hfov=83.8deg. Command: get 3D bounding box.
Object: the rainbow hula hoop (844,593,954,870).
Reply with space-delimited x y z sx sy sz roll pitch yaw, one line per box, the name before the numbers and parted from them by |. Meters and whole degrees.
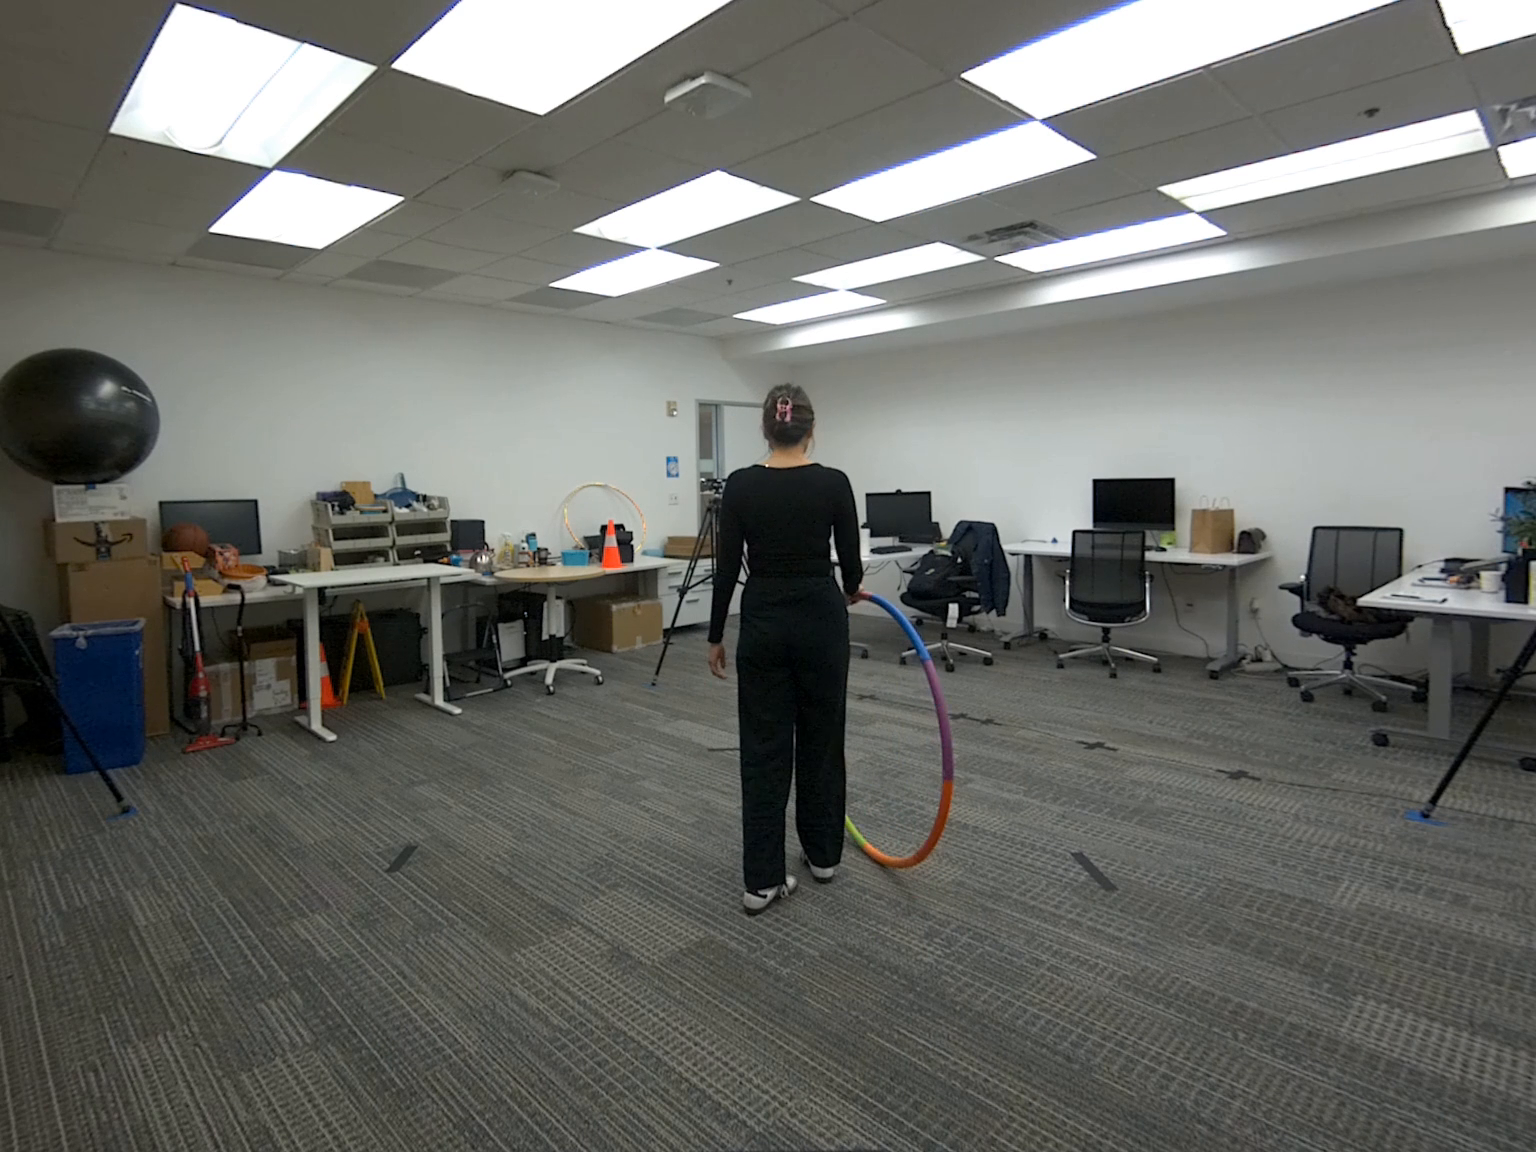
rainbow hula hoop | 0.371 0.550 3.113 0.035 0.975 1.001 -1 5 -22
